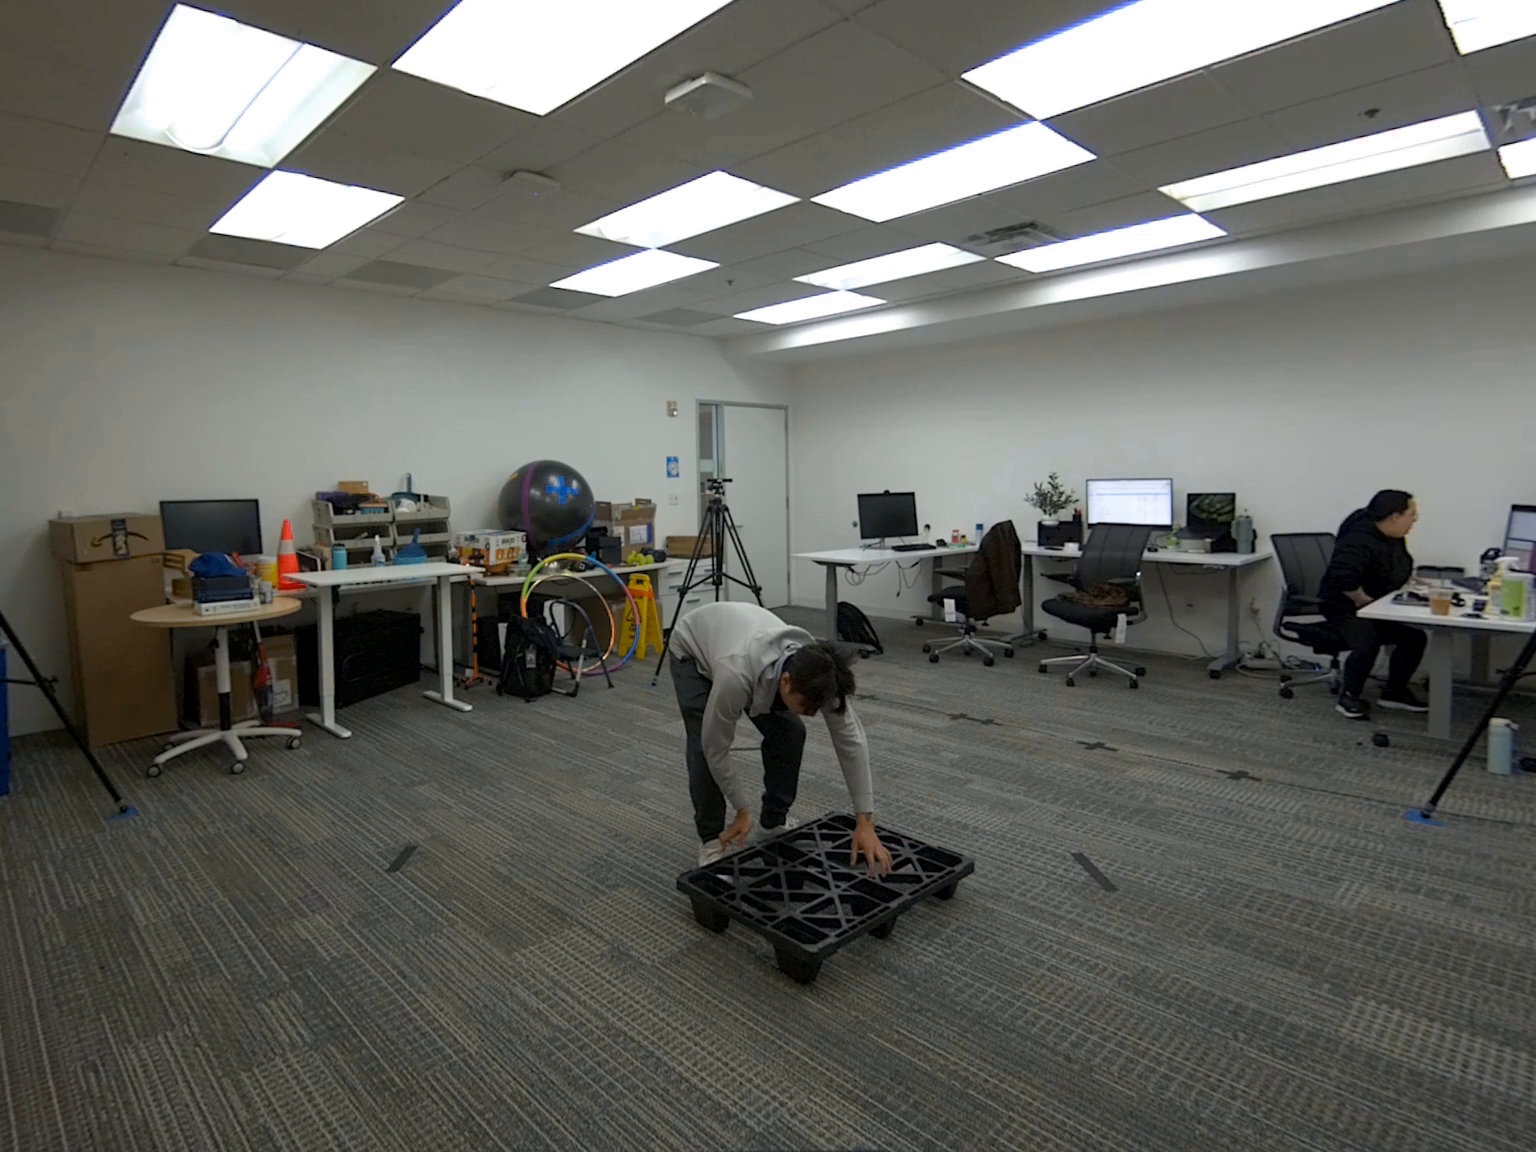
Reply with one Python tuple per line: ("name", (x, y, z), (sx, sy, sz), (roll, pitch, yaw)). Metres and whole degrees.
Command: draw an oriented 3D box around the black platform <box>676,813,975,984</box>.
("black platform", (0.203, 1.015, 2.761), (0.785, 0.142, 0.624), (-7, 9, -42))
